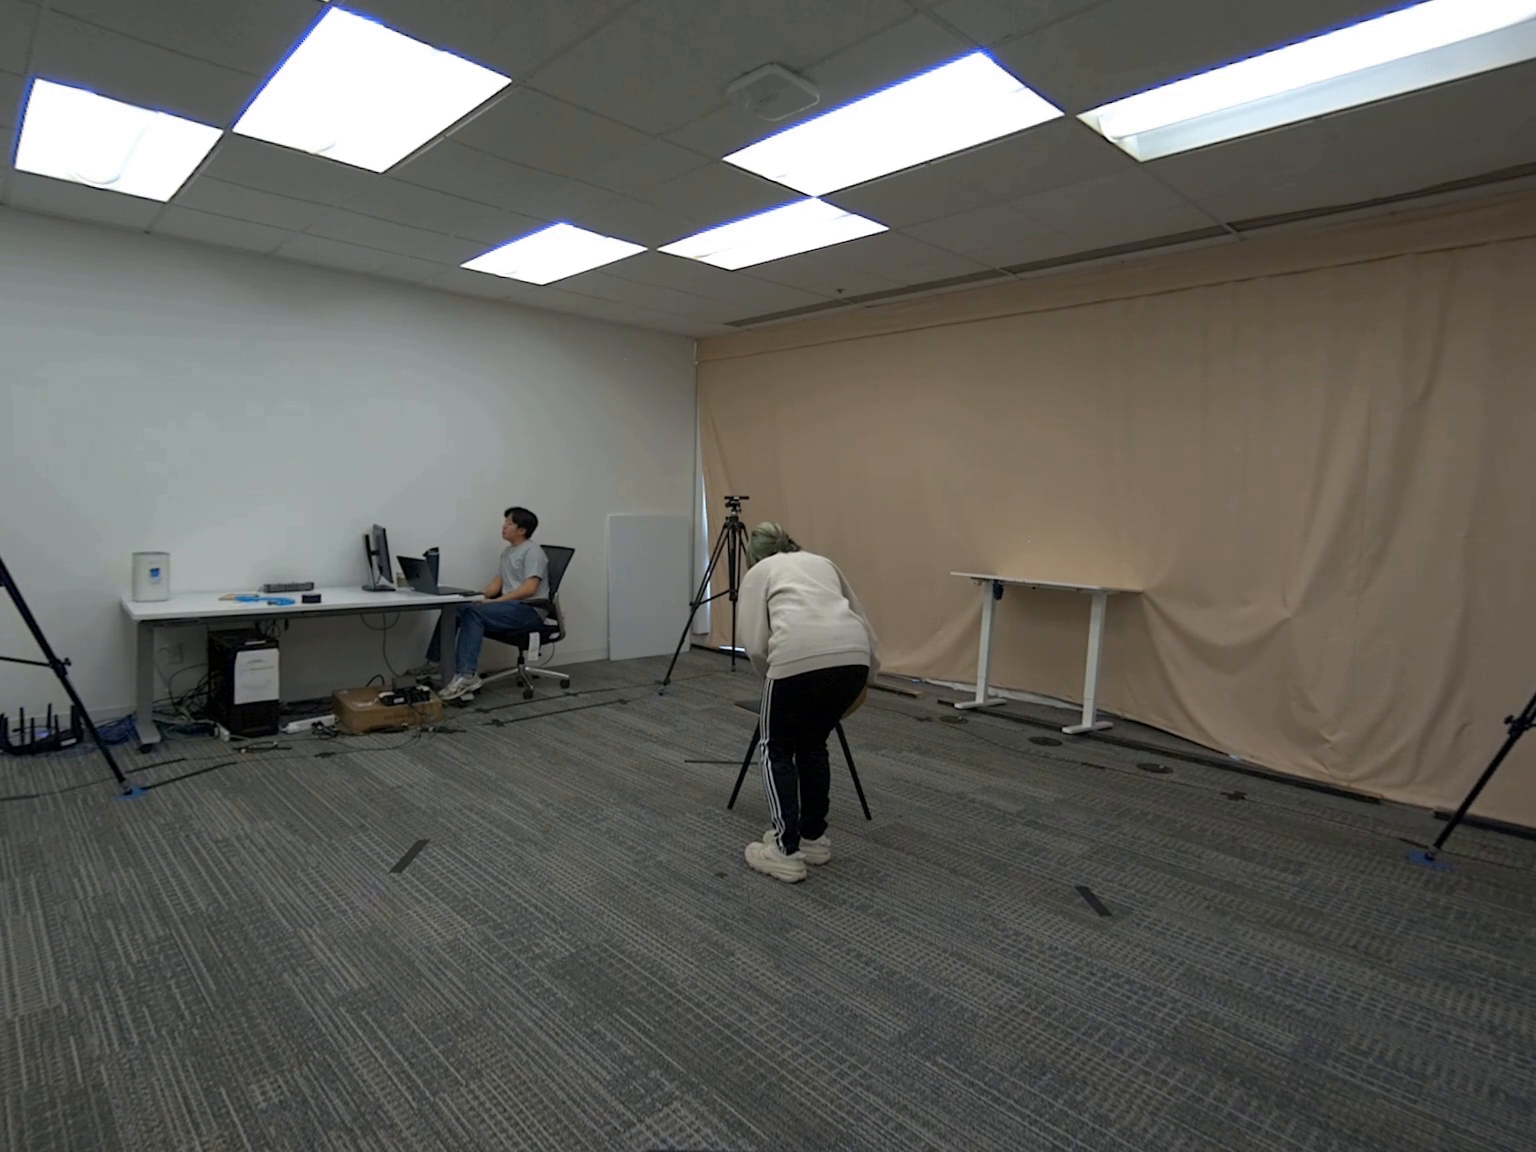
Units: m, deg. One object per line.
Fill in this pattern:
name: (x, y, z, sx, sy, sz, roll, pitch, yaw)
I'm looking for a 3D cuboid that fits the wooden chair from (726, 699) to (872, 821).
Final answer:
wooden chair: (0.139, 0.635, 3.709, 0.467, 0.873, 0.537, -1, 8, -39)
